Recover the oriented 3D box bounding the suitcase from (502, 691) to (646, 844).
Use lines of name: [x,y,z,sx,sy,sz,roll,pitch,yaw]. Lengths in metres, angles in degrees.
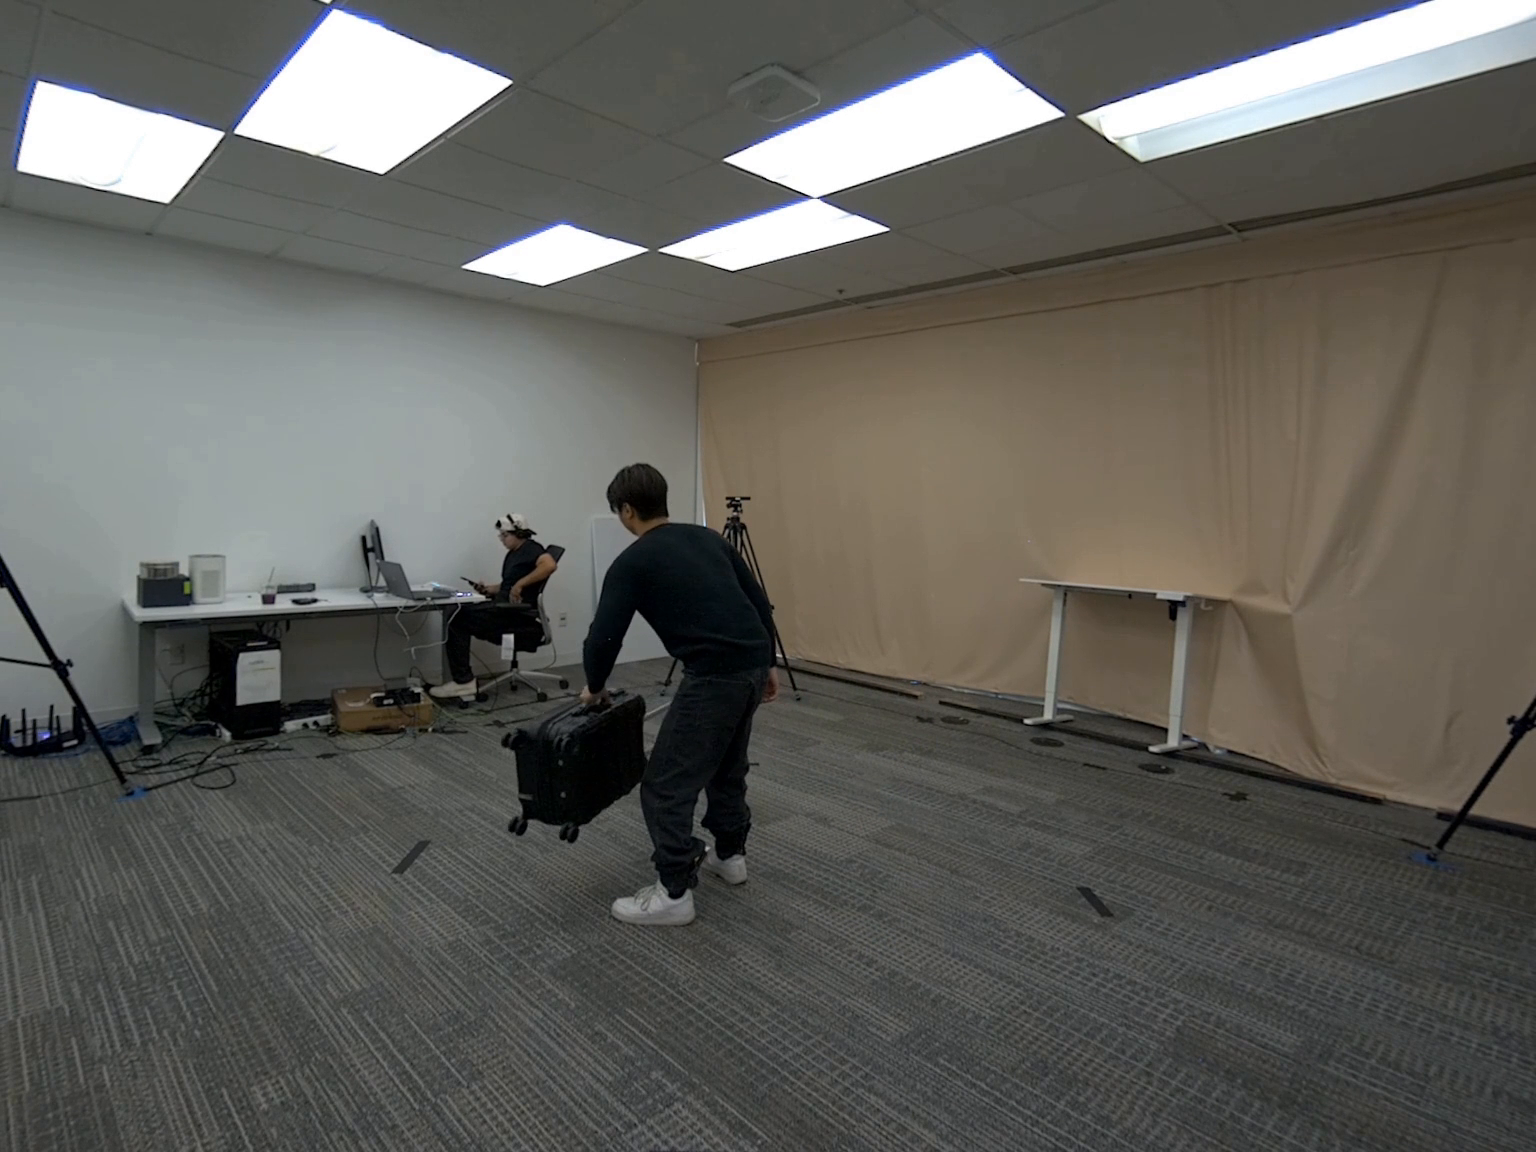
suitcase: [-0.569,0.600,3.152,0.261,0.382,0.966,-2,7,23]
